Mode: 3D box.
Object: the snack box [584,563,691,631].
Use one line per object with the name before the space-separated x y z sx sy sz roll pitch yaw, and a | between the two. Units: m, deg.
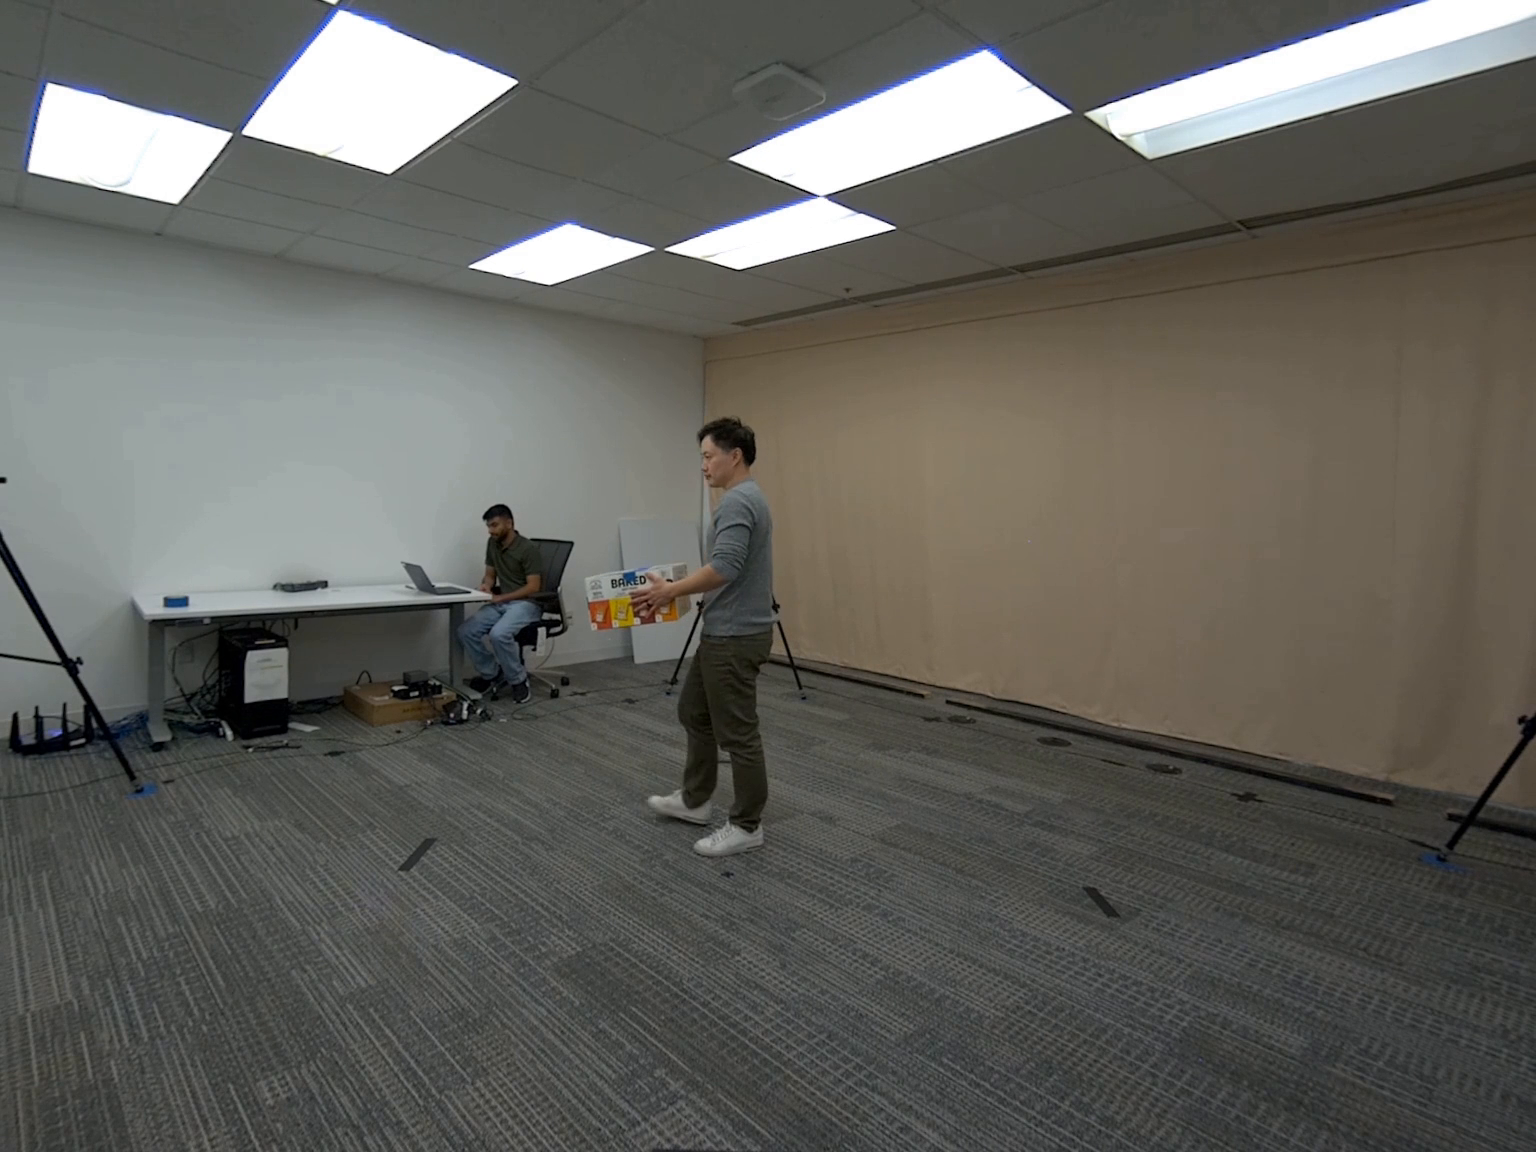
snack box | -0.509 0.076 3.369 0.341 0.205 0.404 -7 3 4
